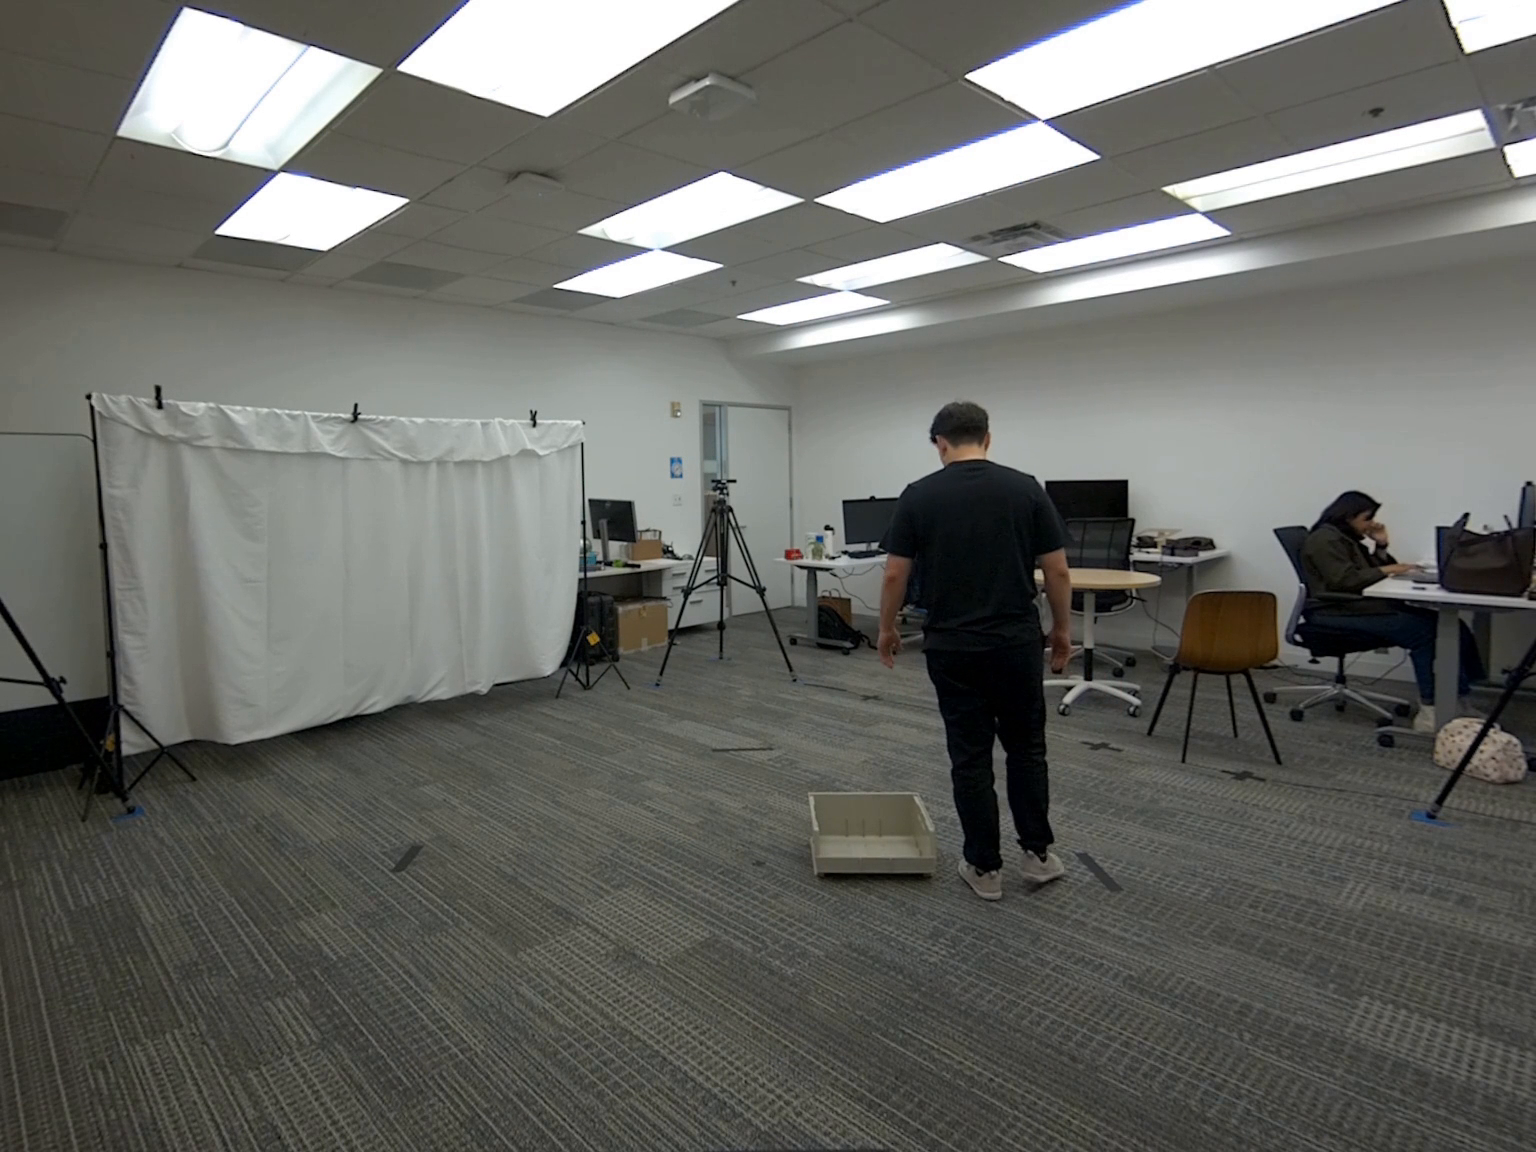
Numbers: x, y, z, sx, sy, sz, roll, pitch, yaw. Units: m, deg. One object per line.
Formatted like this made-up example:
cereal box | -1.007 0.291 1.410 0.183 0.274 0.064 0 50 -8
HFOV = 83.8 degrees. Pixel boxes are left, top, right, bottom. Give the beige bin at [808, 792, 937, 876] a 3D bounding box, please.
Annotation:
beige bin | 0.373 0.951 3.127 0.423 0.188 0.378 -1 5 1
